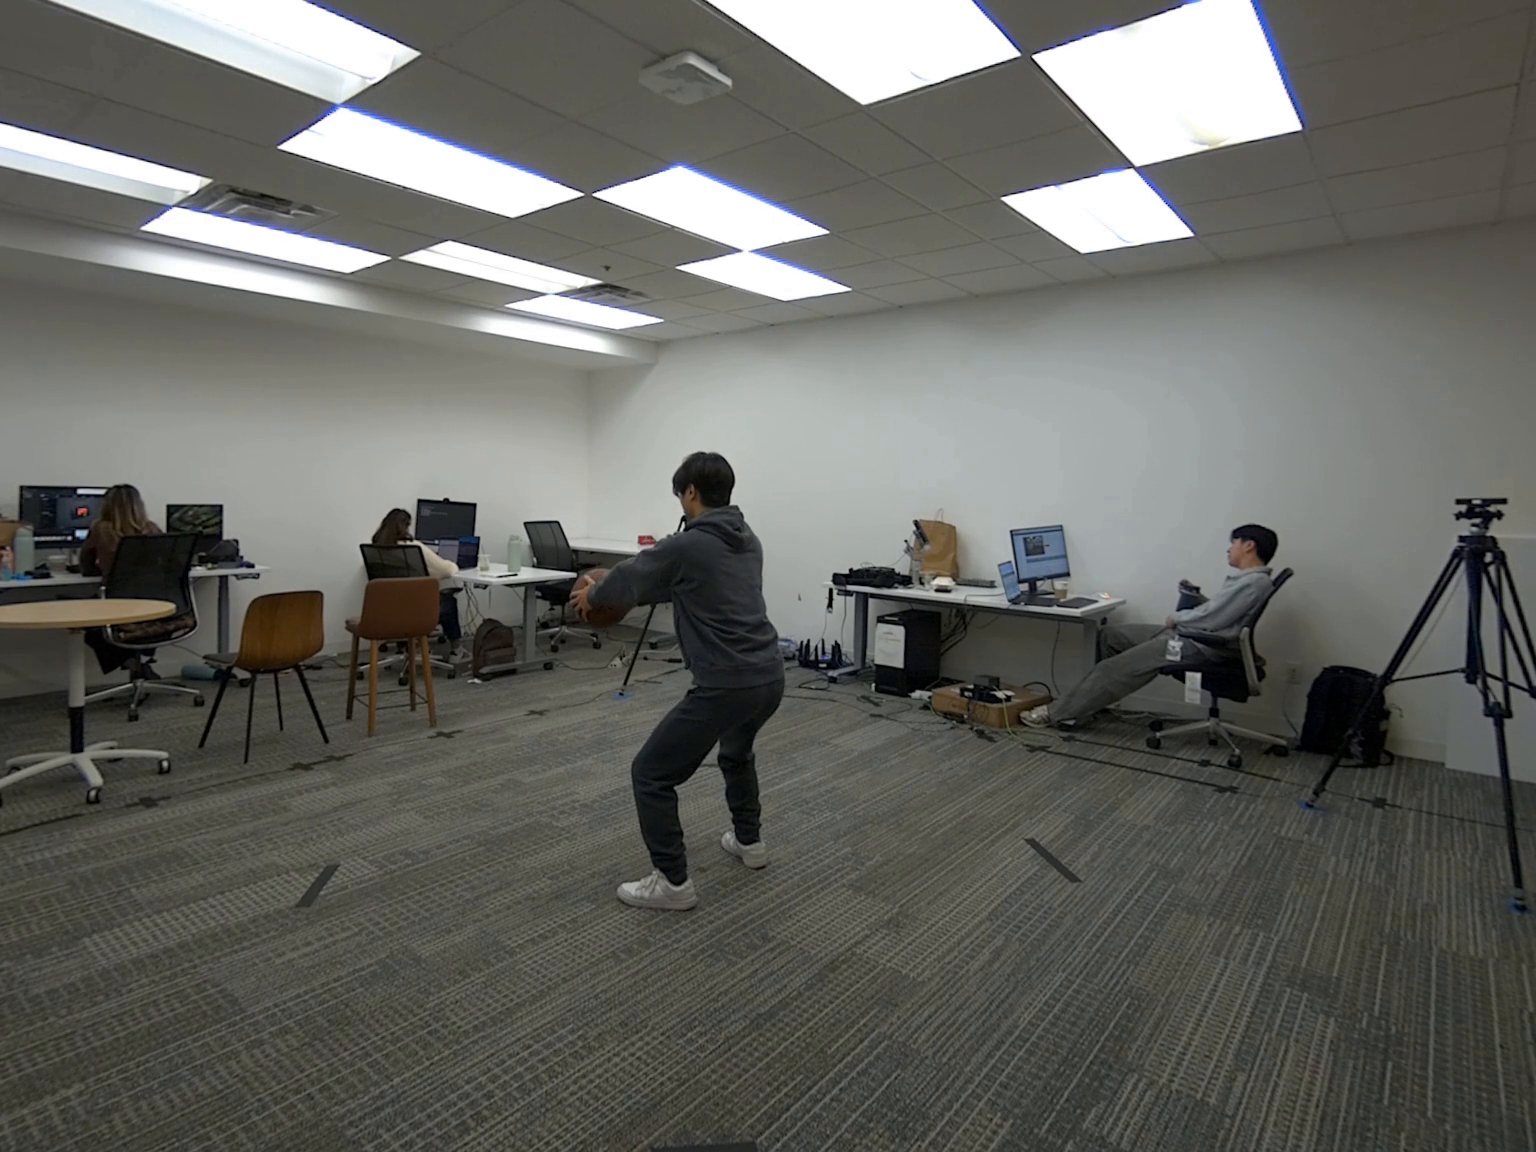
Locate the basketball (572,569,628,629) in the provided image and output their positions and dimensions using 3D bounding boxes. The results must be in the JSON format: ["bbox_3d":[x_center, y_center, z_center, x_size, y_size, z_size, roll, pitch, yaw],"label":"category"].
[{"bbox_3d":[-0.667,0.089,3.365,0.235,0.235,0.237,1,4,-2],"label":"basketball"}]
